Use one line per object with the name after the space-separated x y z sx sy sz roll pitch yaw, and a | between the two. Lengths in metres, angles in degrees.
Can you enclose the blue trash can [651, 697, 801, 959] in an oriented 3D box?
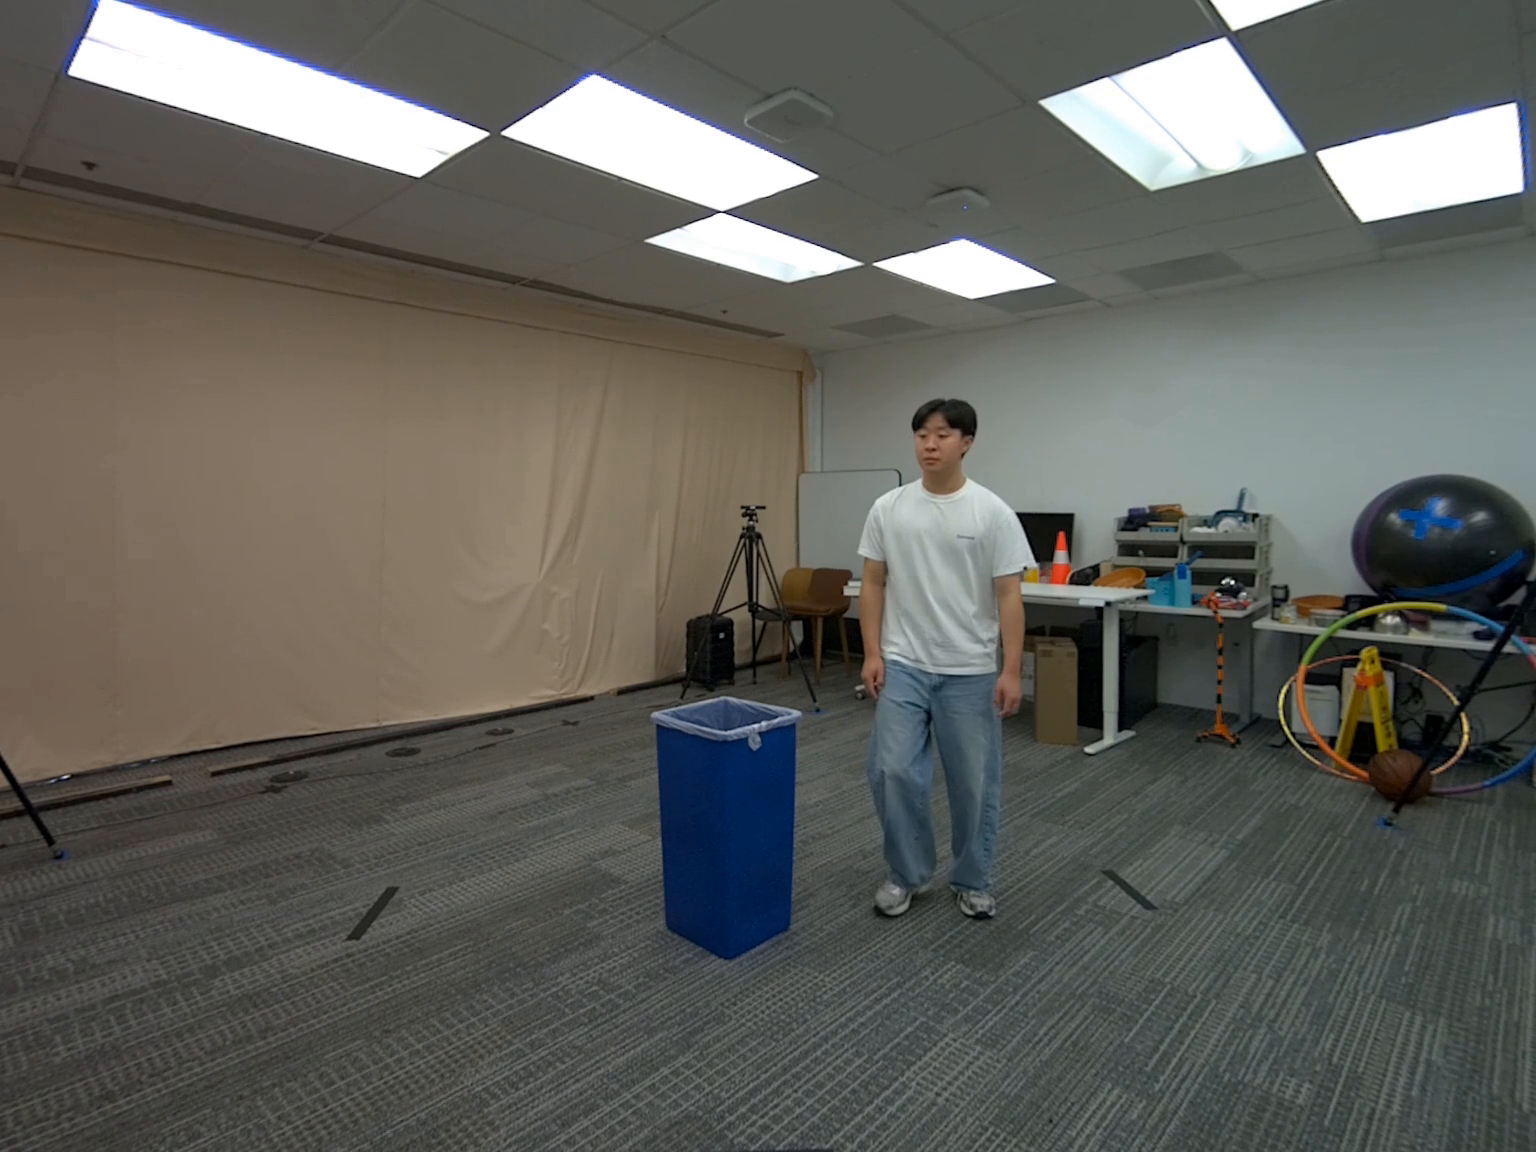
-0.140 0.806 2.771 0.386 0.712 0.366 3 4 44 | blue trash can
